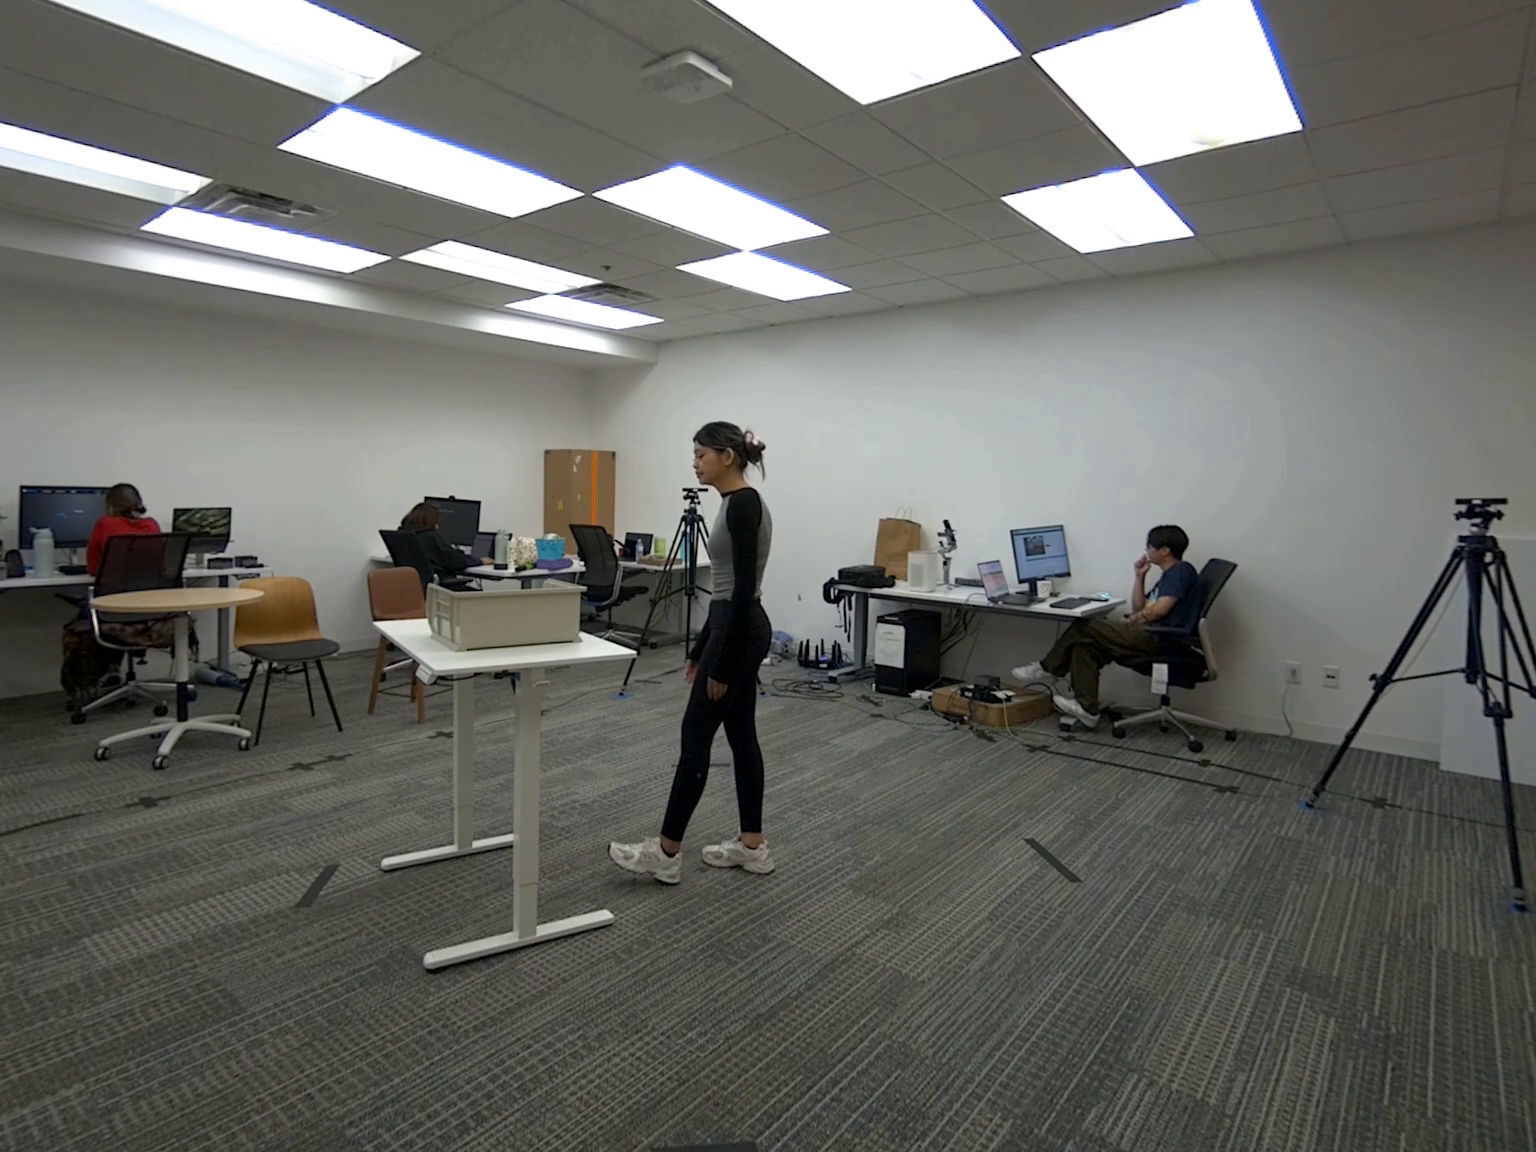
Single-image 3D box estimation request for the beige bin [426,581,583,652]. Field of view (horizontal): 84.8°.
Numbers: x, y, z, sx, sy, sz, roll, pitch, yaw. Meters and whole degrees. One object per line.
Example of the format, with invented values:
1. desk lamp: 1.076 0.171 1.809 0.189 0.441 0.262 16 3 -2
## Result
1. beige bin: -0.890 0.122 2.808 0.410 0.188 0.390 -1 6 -36
